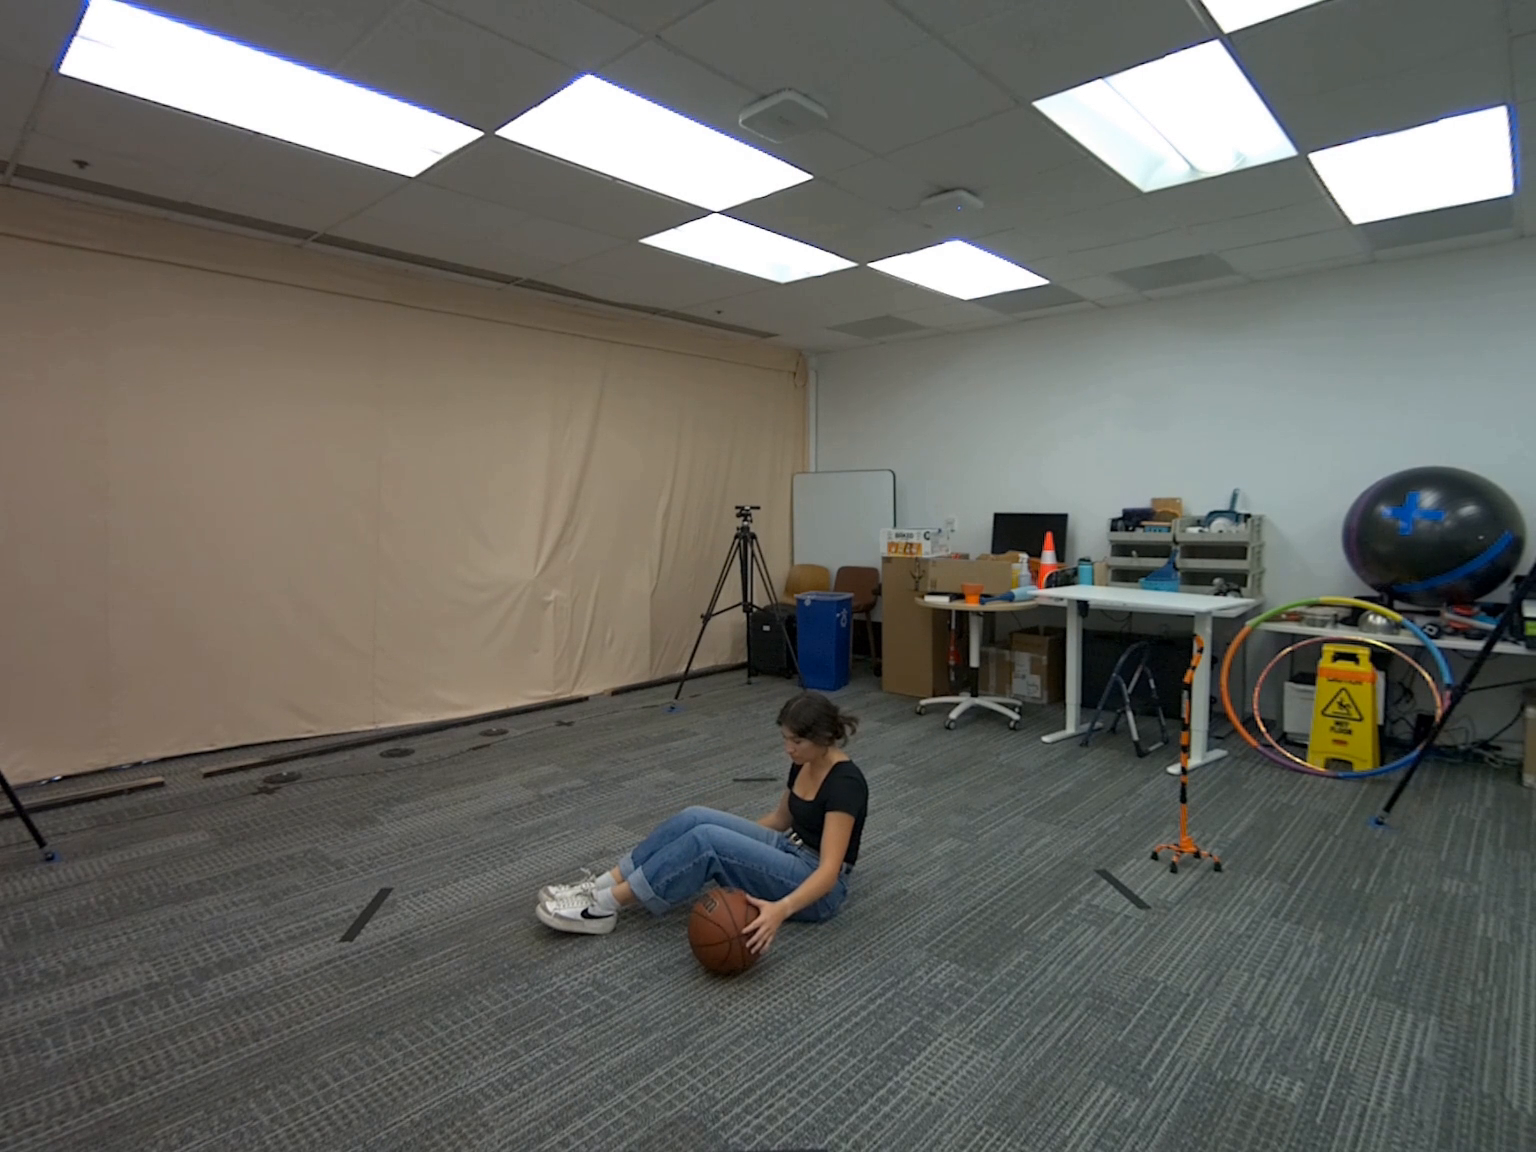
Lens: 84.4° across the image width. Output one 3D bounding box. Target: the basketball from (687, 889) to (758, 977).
[{"bbox_3d":[-0.129,1.062,2.530,0.236,0.235,0.237,0,4,-2],"label":"basketball"}]
